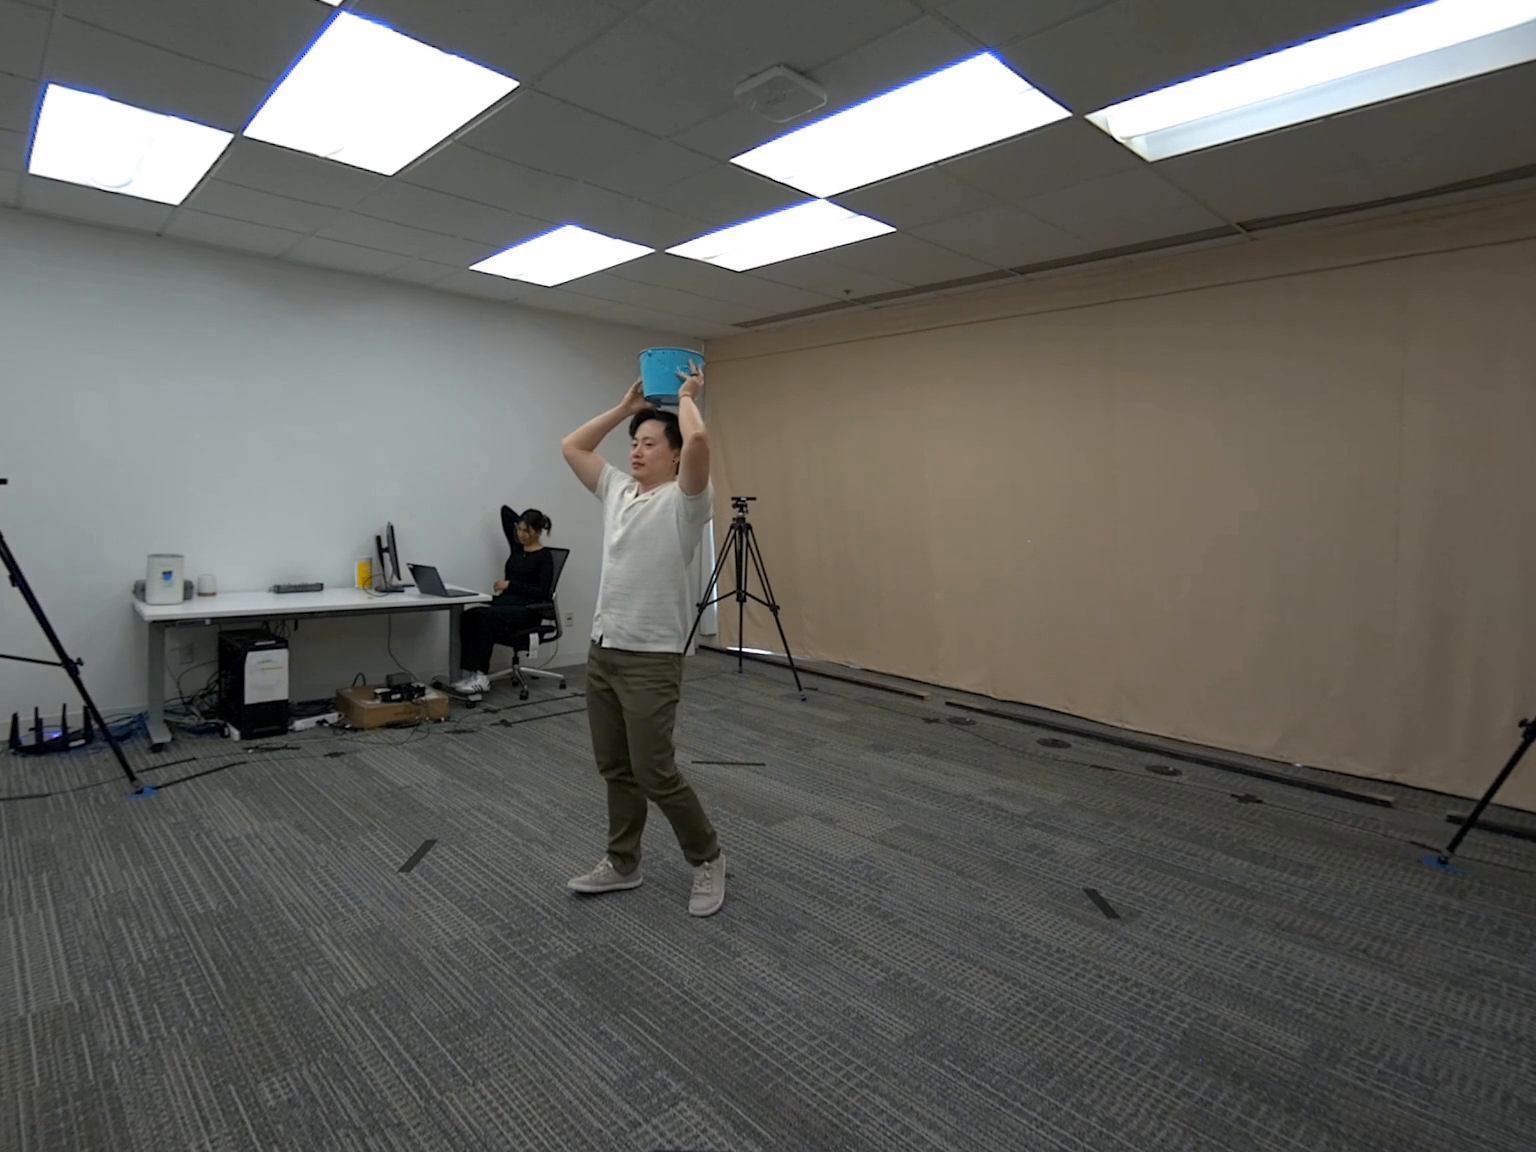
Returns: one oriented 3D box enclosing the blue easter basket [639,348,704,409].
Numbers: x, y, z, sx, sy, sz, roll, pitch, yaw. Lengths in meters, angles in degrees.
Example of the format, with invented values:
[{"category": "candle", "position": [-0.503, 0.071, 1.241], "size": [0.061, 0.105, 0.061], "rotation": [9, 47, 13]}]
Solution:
[{"category": "blue easter basket", "position": [-0.349, -0.693, 2.910], "size": [0.243, 0.156, 0.243], "rotation": [3, -3, -1]}]
